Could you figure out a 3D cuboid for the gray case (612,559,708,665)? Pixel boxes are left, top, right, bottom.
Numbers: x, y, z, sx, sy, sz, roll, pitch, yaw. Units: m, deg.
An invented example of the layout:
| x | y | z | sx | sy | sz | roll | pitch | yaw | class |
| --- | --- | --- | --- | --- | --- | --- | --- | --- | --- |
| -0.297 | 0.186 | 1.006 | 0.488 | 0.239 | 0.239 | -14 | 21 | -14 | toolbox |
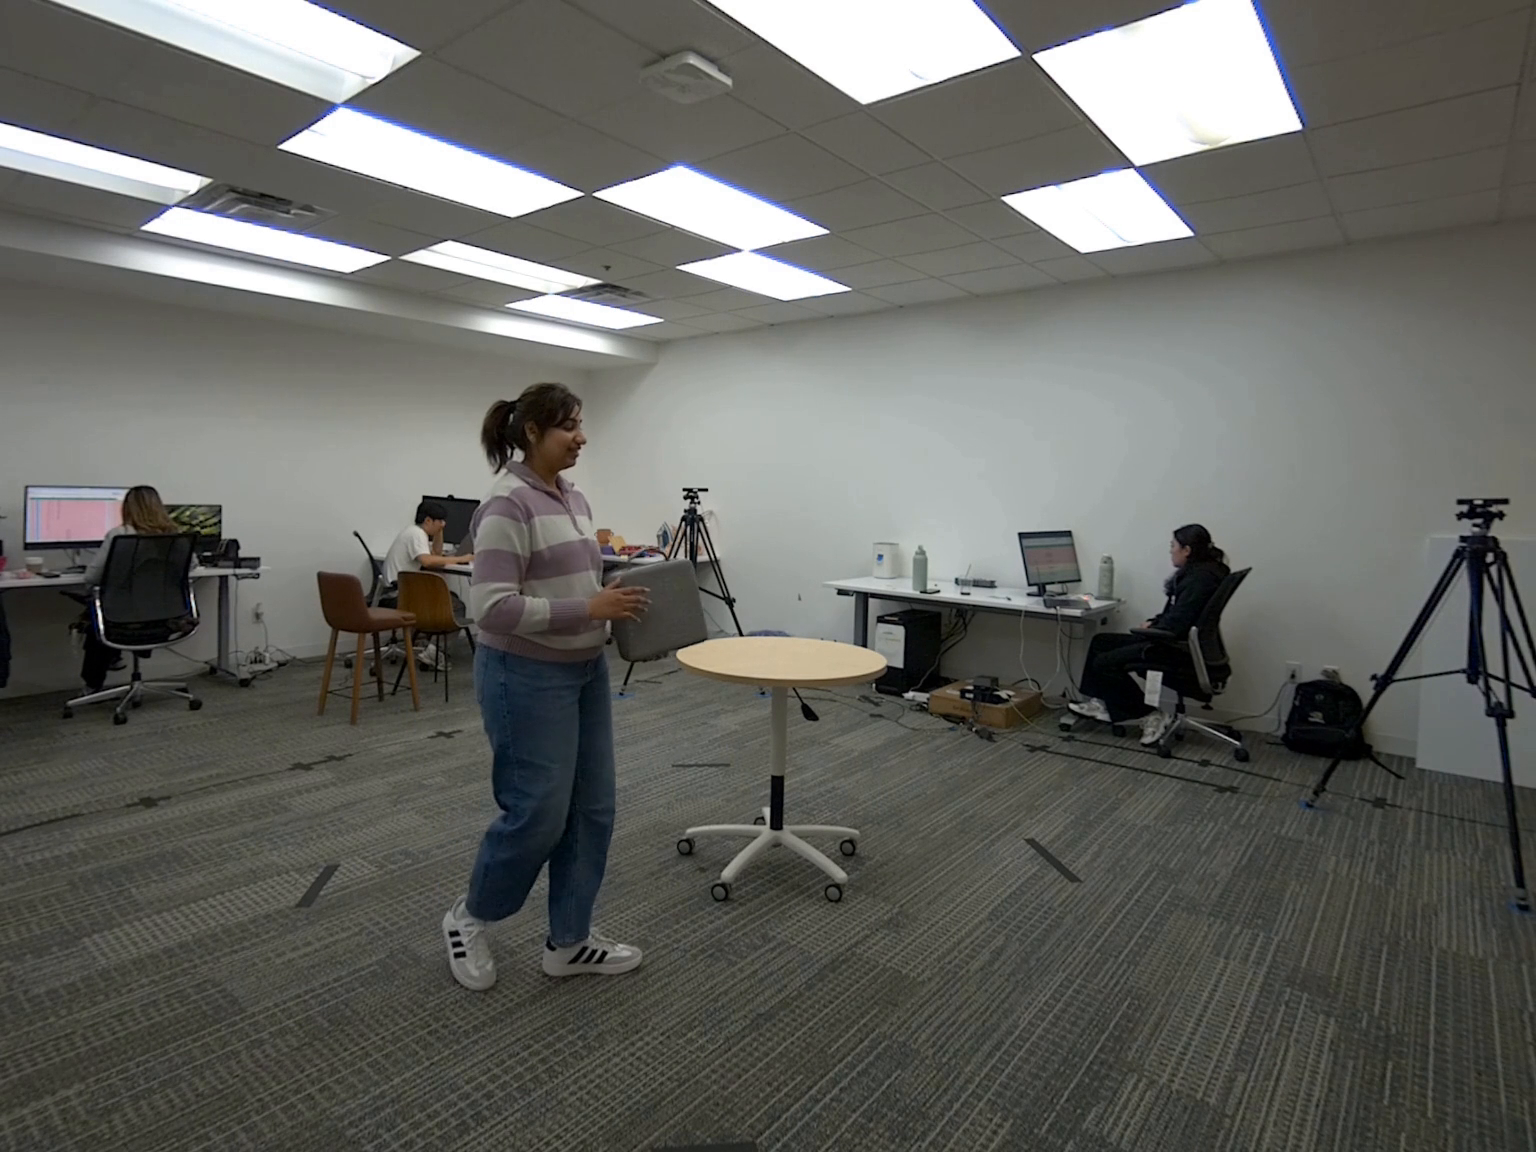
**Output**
| x | y | z | sx | sy | sz | roll | pitch | yaw | class |
| --- | --- | --- | --- | --- | --- | --- | --- | --- | --- |
| -0.326 | 0.091 | 2.397 | 0.253 | 0.261 | 0.106 | -13 | 0 | -18 | gray case |
